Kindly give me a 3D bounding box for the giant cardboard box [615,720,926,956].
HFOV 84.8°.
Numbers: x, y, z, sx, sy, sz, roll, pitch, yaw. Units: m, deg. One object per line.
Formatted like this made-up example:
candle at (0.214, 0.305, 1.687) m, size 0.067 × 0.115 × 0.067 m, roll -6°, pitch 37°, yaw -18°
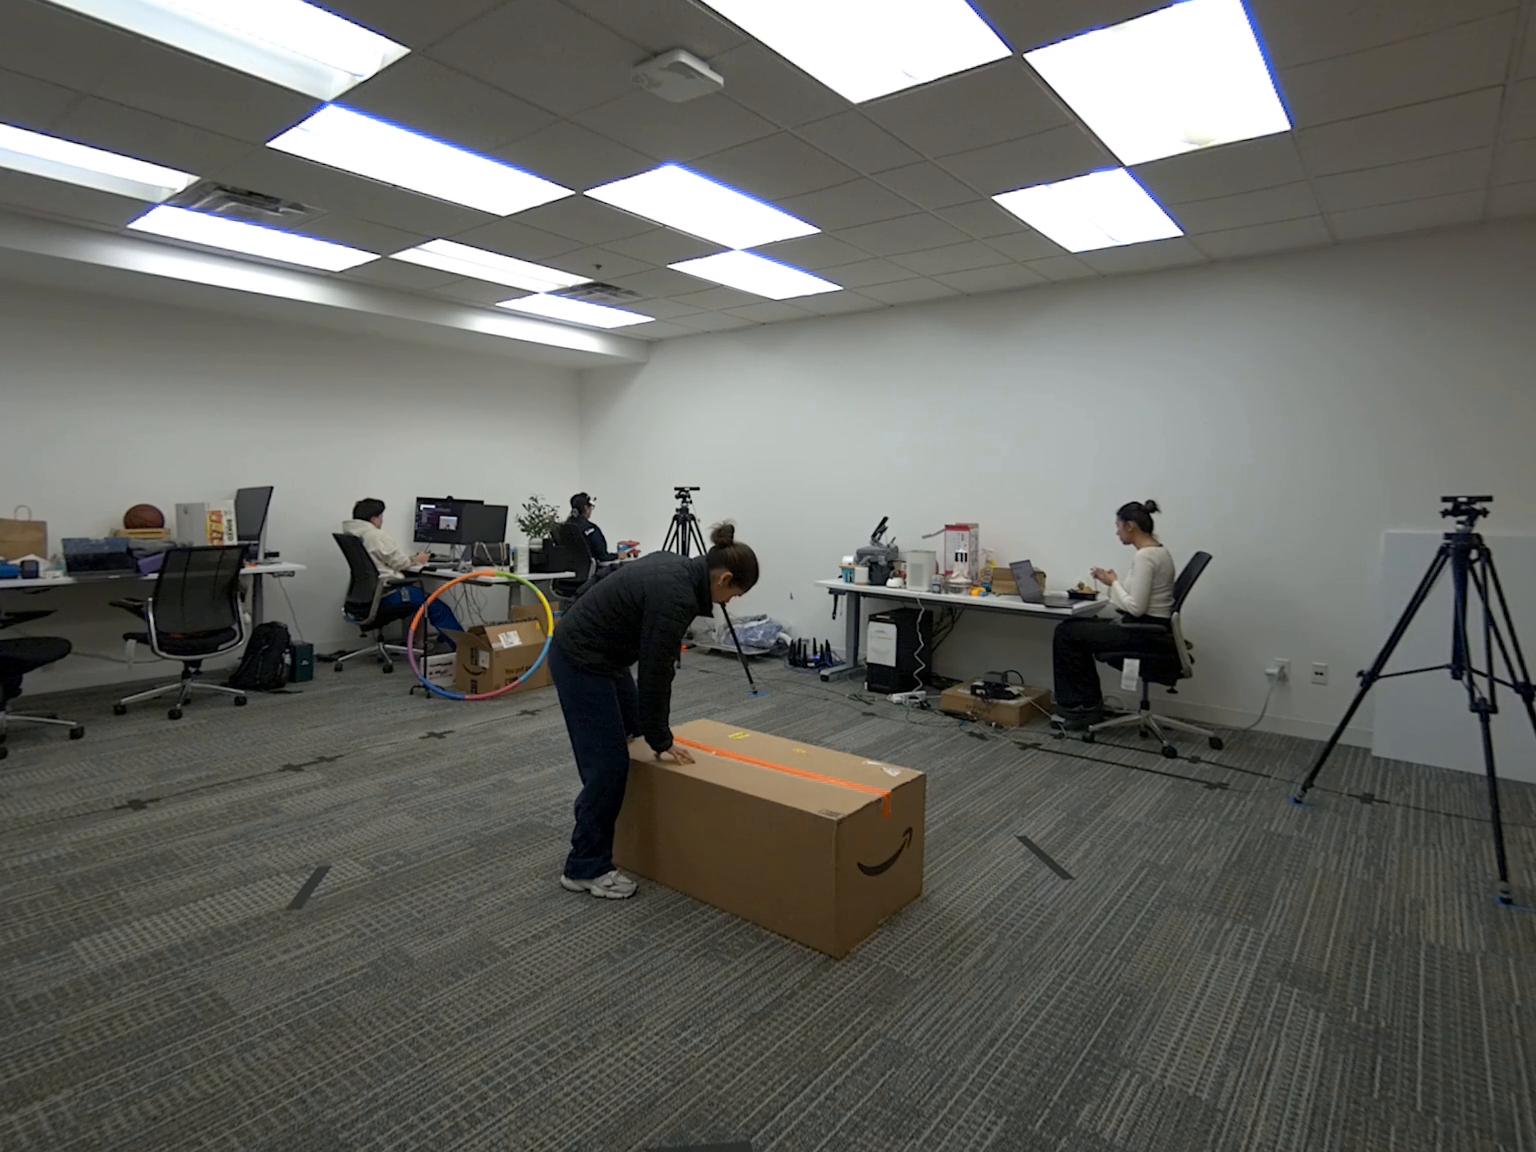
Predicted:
giant cardboard box at (-0.021, 0.866, 3.059) m, size 1.062 × 0.445 × 0.567 m, roll 6°, pitch 8°, yaw 39°
